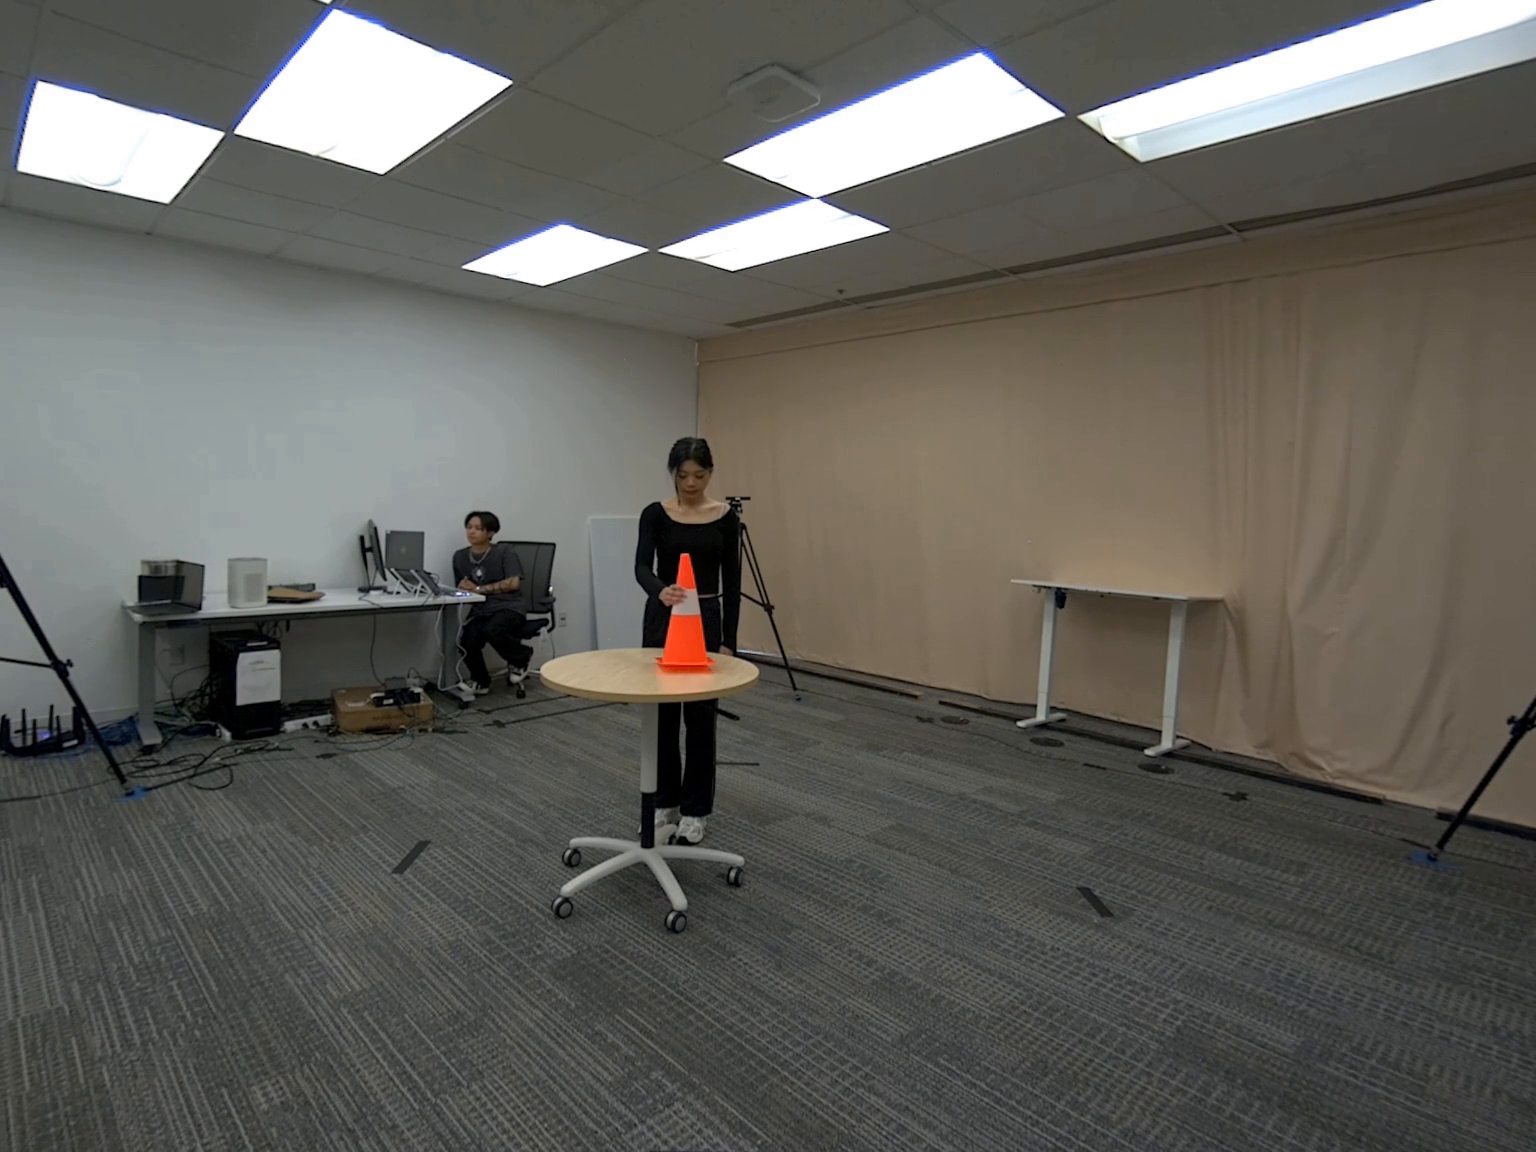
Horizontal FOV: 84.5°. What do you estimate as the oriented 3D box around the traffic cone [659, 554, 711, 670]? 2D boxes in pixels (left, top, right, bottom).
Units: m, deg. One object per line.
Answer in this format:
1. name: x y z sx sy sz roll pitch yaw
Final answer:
1. traffic cone: -0.309 0.115 2.996 0.203 0.383 0.205 1 2 -13
